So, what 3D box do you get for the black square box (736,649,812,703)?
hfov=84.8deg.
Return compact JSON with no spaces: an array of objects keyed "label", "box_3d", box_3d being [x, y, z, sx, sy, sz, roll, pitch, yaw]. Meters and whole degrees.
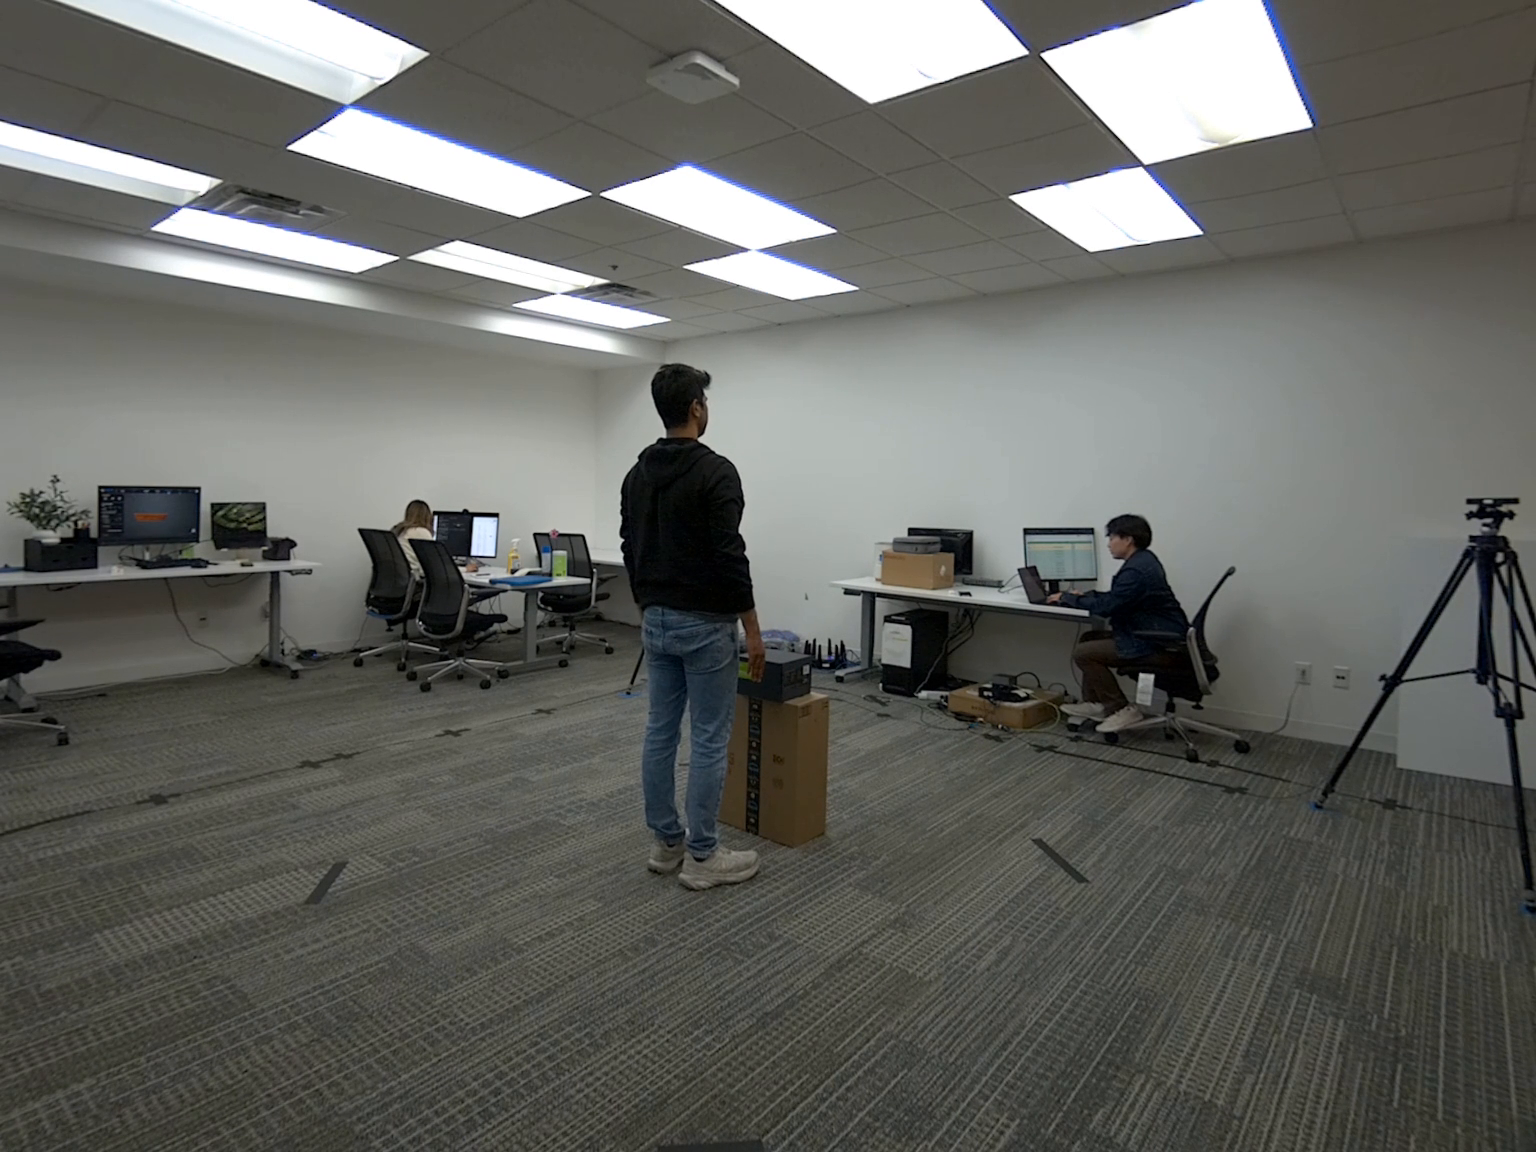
[{"label":"black square box","box_3d":[0.011,0.391,3.439,0.235,0.155,0.211,5,6,37]}]
